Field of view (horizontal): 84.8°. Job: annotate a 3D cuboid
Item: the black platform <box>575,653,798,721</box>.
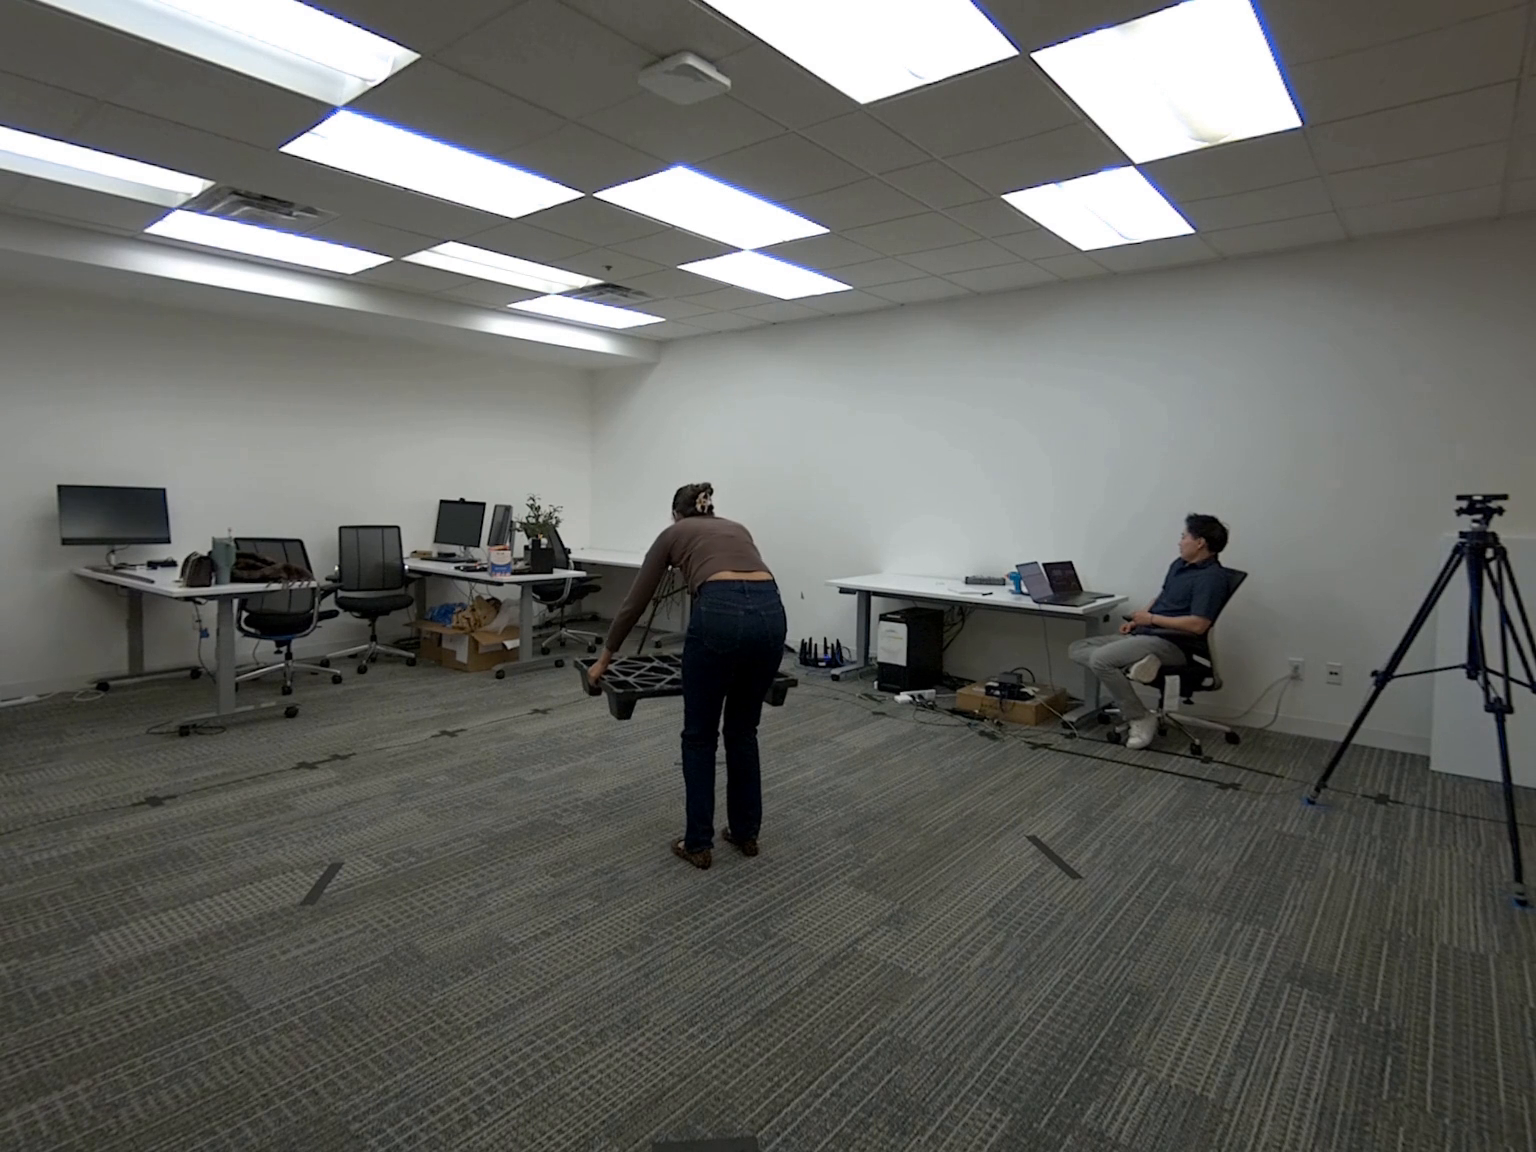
[{"bbox_3d":[-0.371,0.459,3.628,0.785,0.142,0.624,-1,8,-27],"label":"black platform"}]
